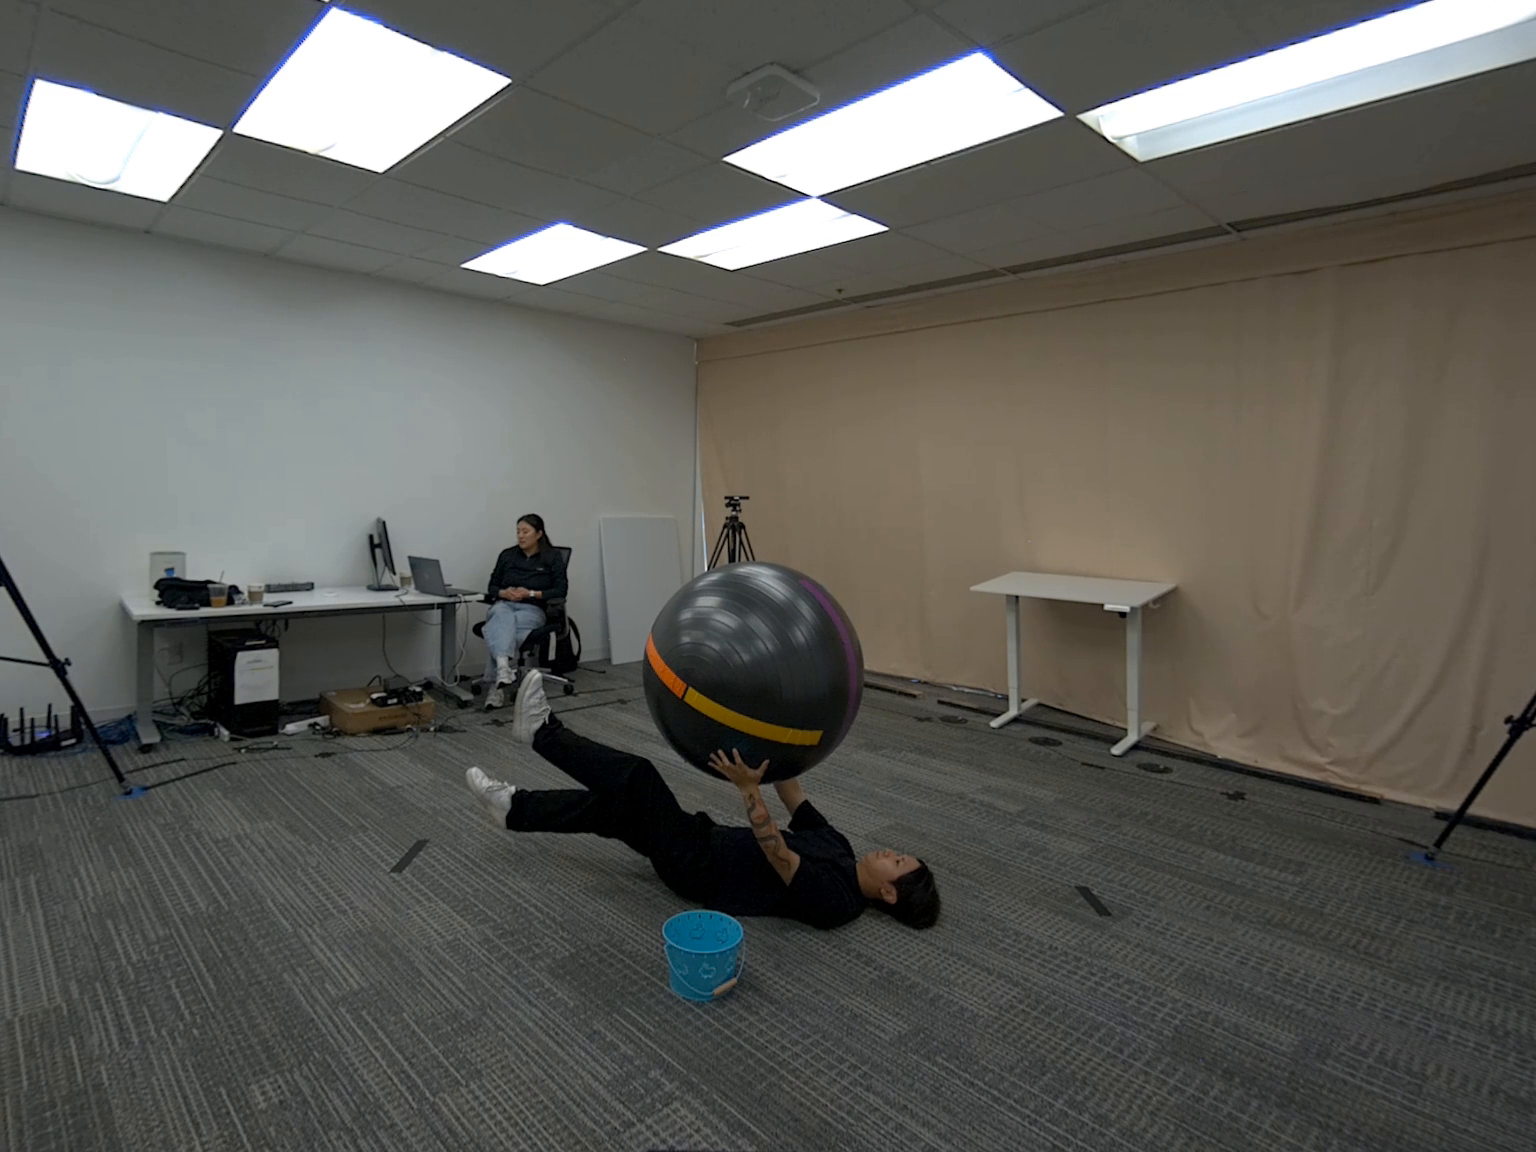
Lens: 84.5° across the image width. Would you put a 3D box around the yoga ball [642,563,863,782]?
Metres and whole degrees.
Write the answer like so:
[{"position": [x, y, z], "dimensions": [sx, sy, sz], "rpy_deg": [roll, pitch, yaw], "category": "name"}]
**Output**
[{"position": [-0.048, 0.335, 2.910], "dimensions": [0.757, 0.756, 0.761], "rpy_deg": [1, 4, -1], "category": "yoga ball"}]
